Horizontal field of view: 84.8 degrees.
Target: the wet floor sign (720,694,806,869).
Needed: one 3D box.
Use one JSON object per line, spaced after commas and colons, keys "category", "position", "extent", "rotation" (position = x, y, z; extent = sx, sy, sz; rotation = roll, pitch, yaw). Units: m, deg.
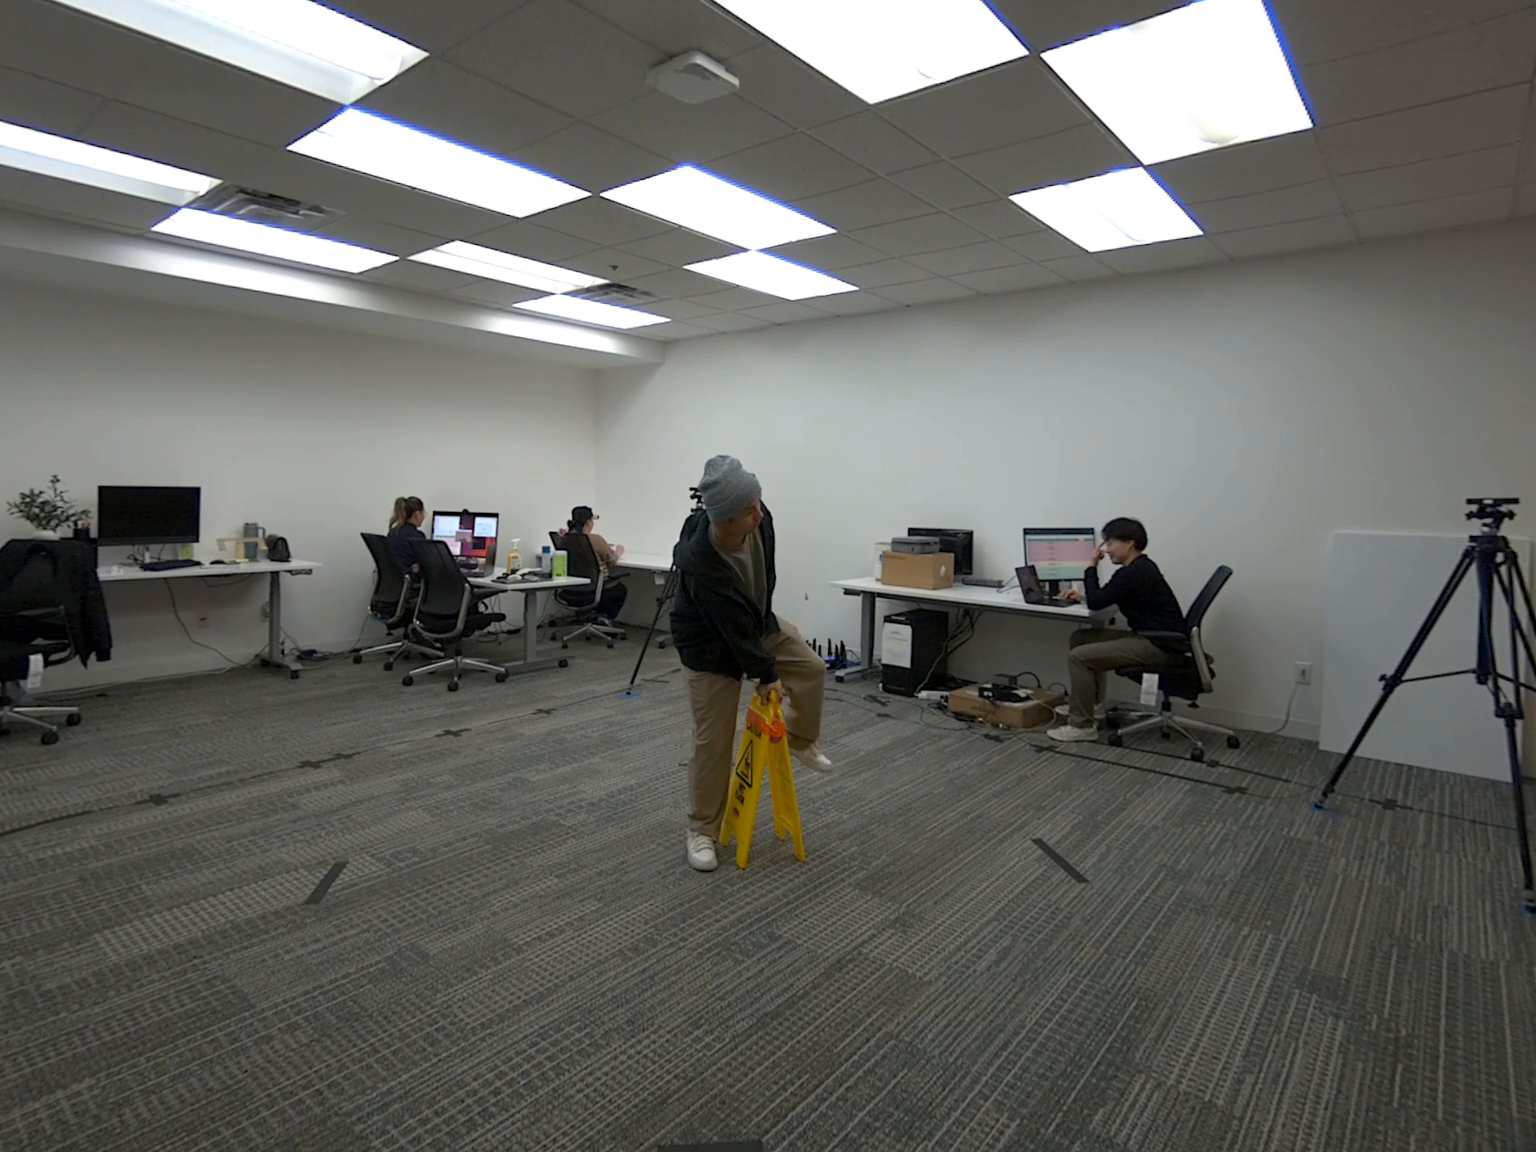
{"category": "wet floor sign", "position": [-0.021, 0.731, 3.258], "extent": [0.284, 0.644, 0.289], "rotation": [1, 4, -20]}
